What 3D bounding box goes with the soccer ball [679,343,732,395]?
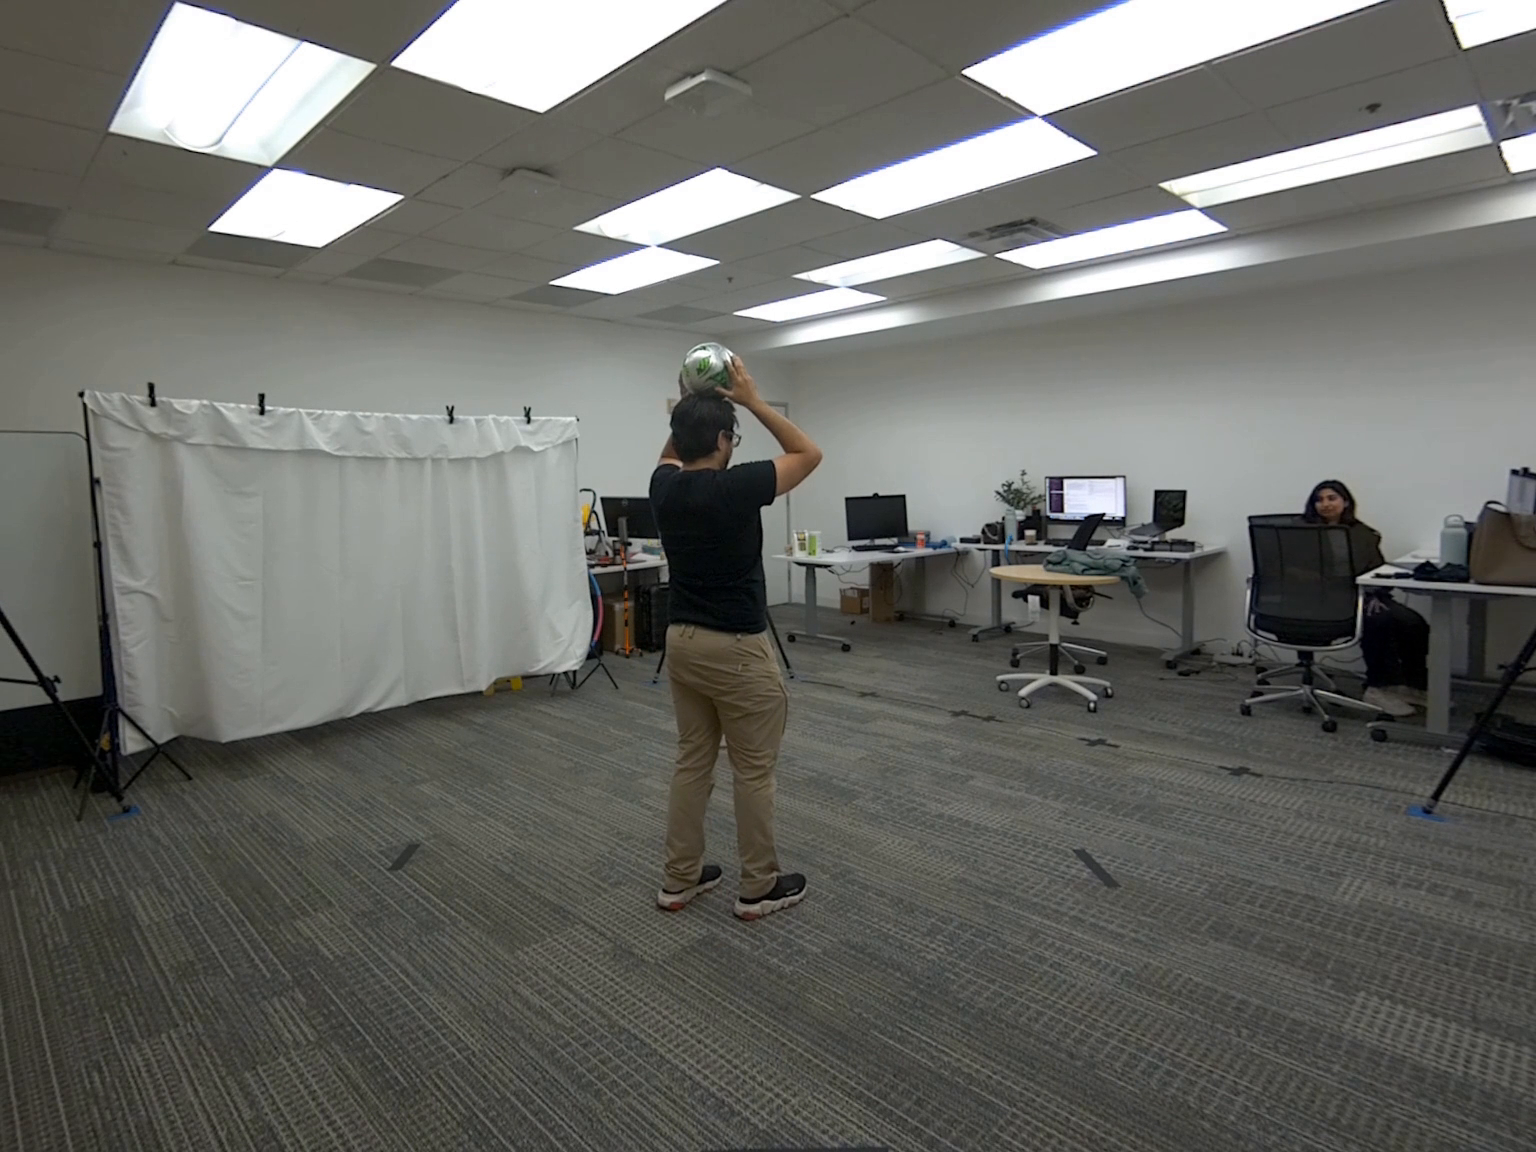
[{"bbox_3d":[-0.184,-0.654,2.760,0.187,0.187,0.188,-1,5,-2],"label":"soccer ball"}]
